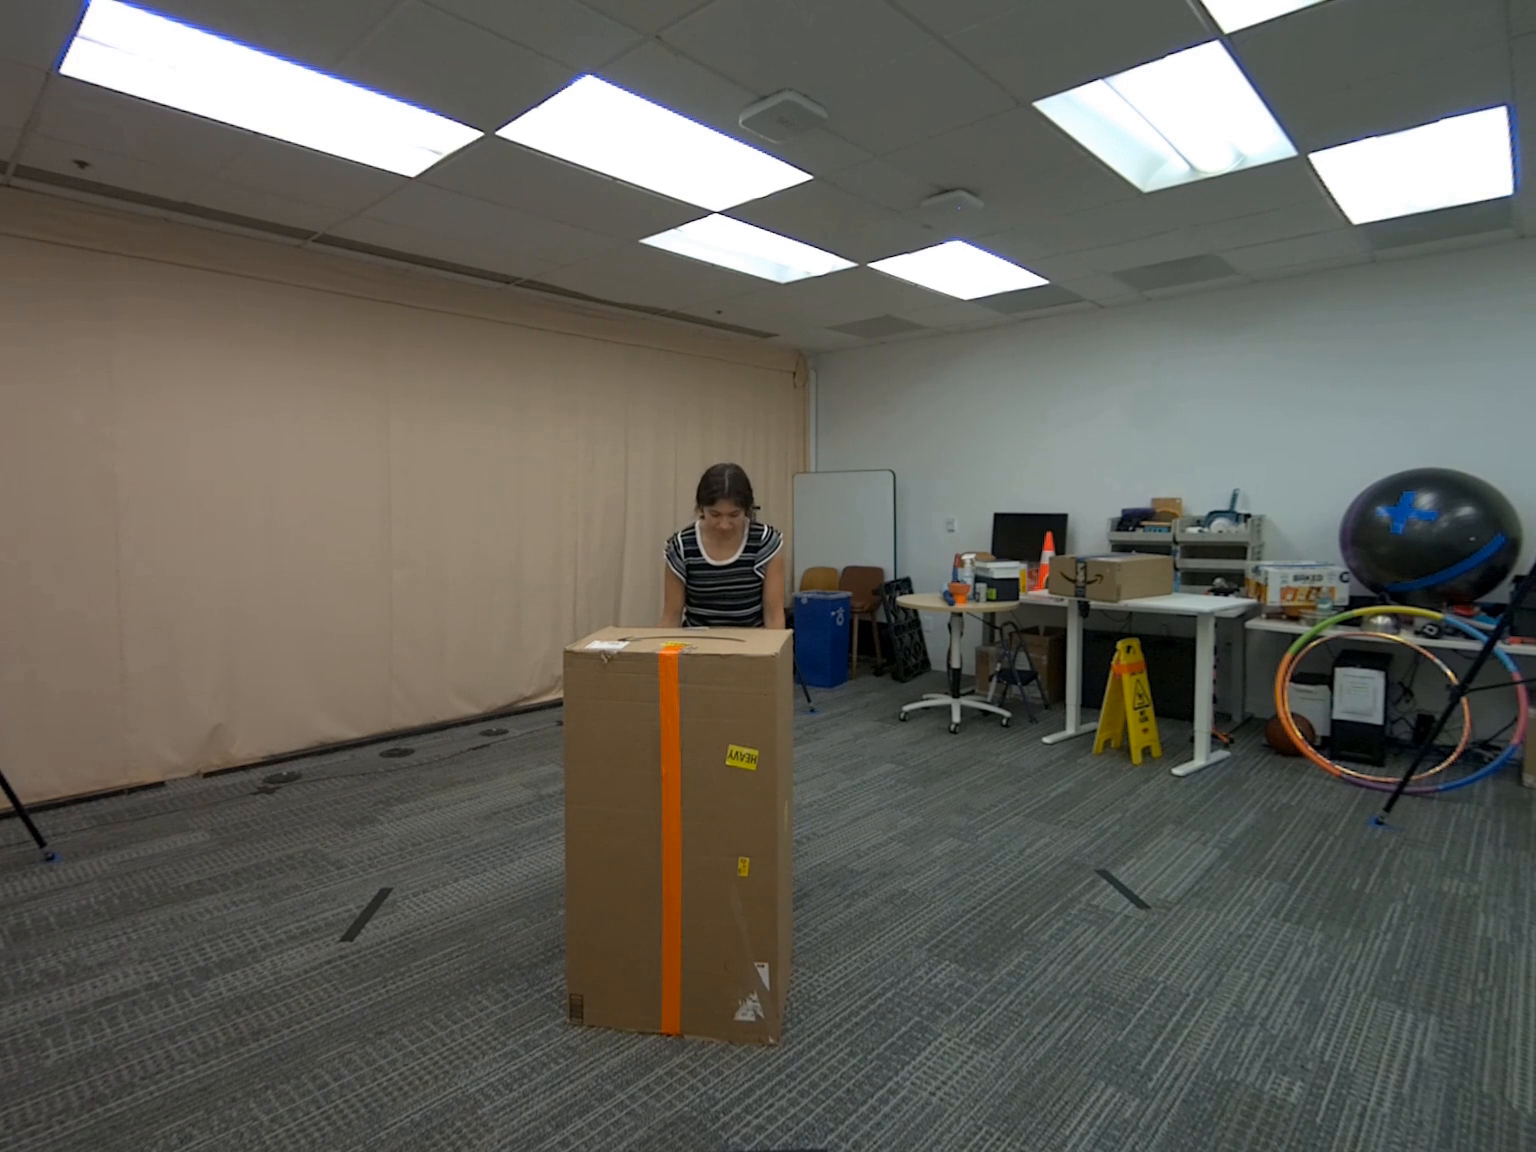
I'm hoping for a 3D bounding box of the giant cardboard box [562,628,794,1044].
[{"bbox_3d":[-0.231,0.687,2.392,0.583,1.023,0.423,0,4,8],"label":"giant cardboard box"}]
